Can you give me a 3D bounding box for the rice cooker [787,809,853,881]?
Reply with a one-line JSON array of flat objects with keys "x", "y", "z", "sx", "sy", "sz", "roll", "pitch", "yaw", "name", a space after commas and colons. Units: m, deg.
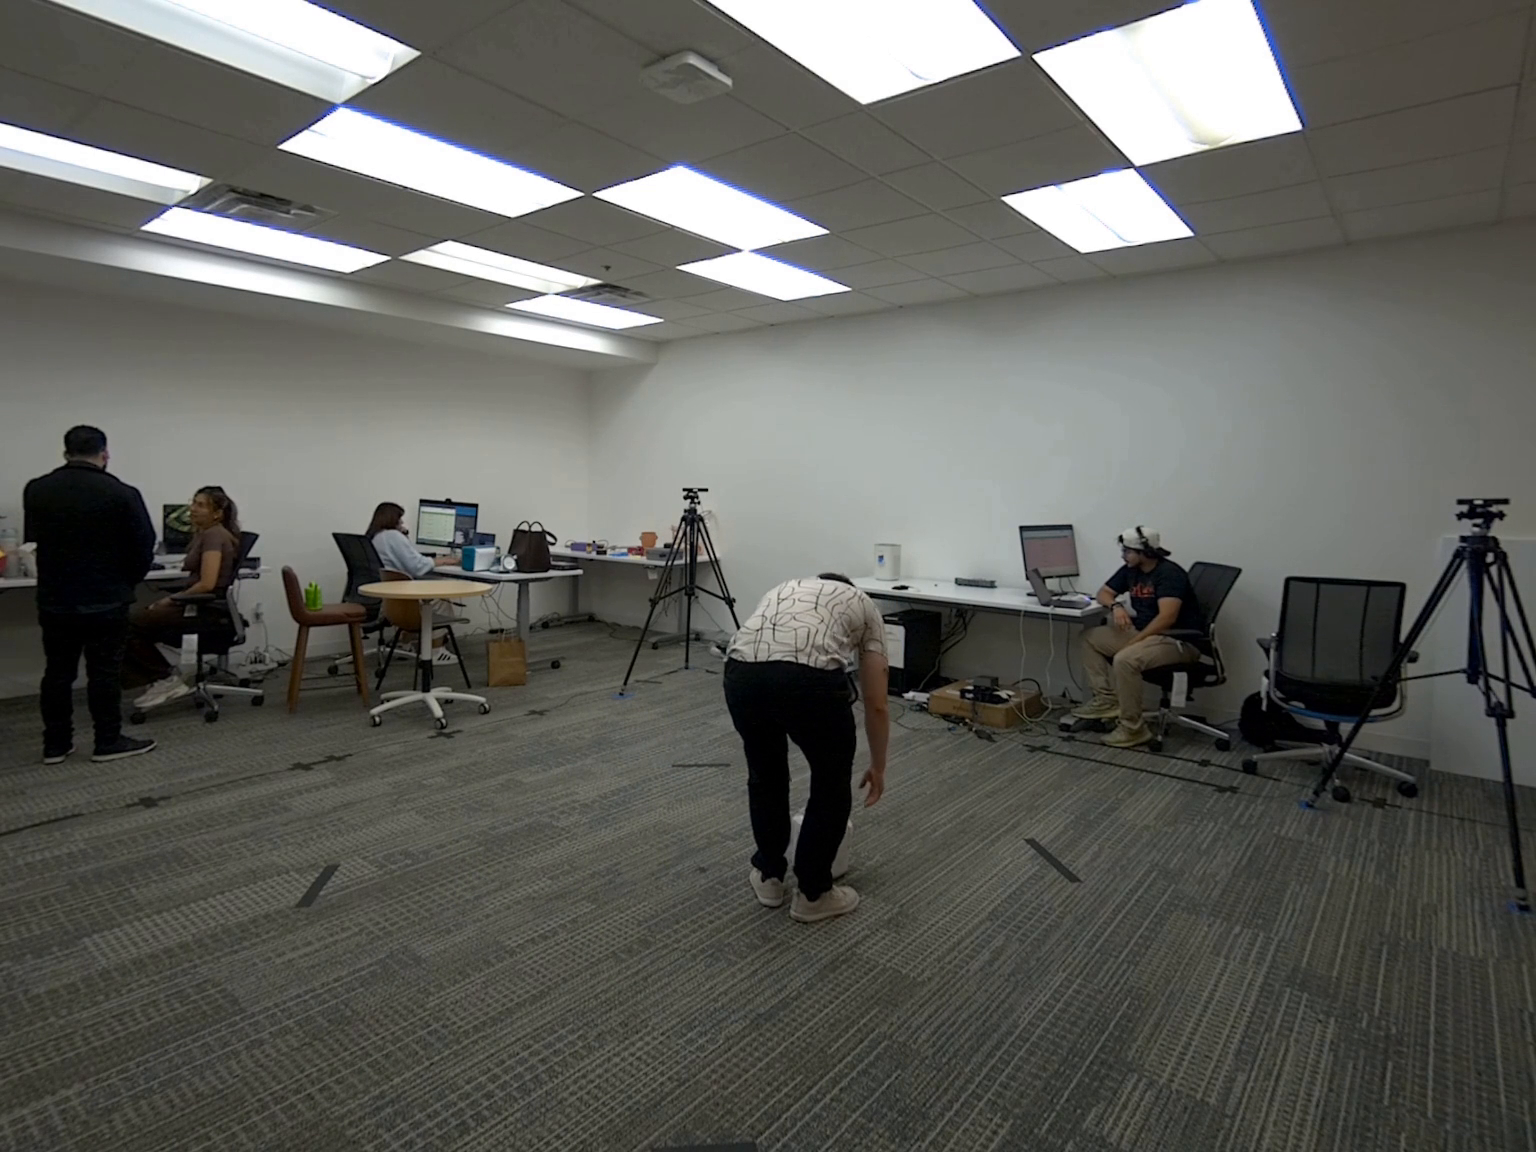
[{"x": 0.190, "y": 0.956, "z": 3.112, "sx": 0.223, "sy": 0.232, "sz": 0.216, "roll": 1, "pitch": 3, "yaw": 8, "name": "rice cooker"}]
